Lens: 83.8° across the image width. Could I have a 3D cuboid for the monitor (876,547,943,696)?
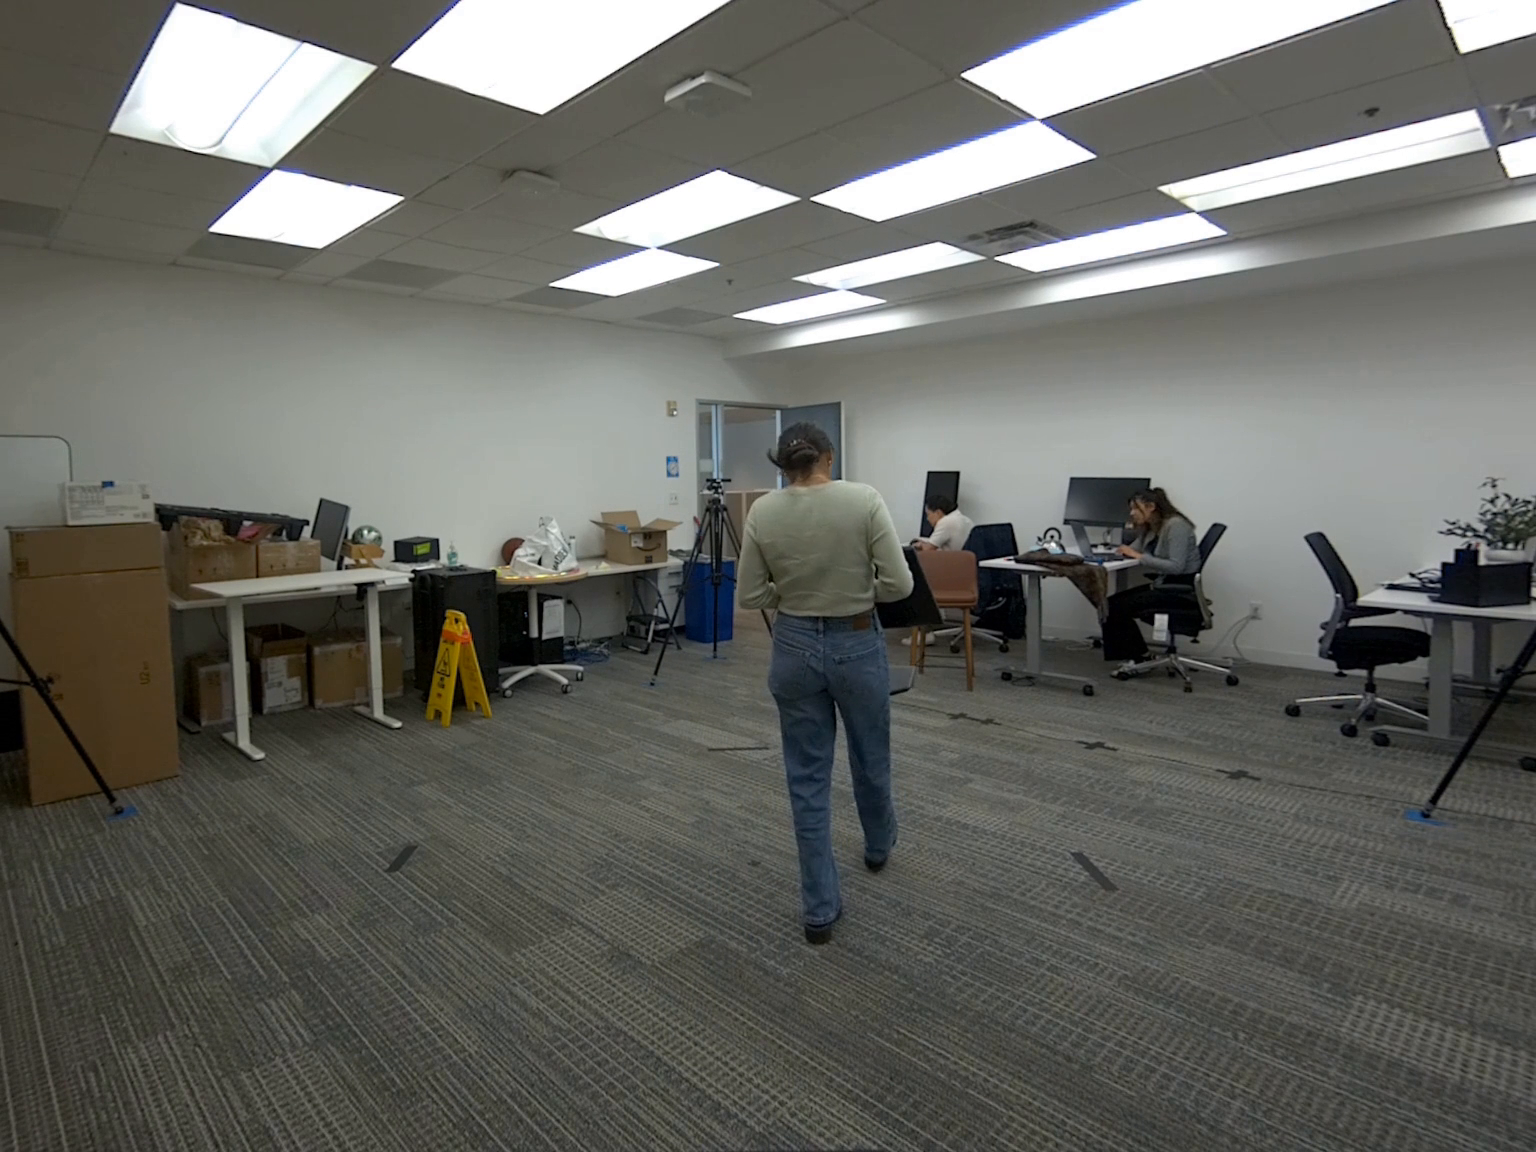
[{"bbox_3d":[0.300,0.146,2.852,0.541,0.506,0.174,-7,20,29],"label":"monitor"}]
